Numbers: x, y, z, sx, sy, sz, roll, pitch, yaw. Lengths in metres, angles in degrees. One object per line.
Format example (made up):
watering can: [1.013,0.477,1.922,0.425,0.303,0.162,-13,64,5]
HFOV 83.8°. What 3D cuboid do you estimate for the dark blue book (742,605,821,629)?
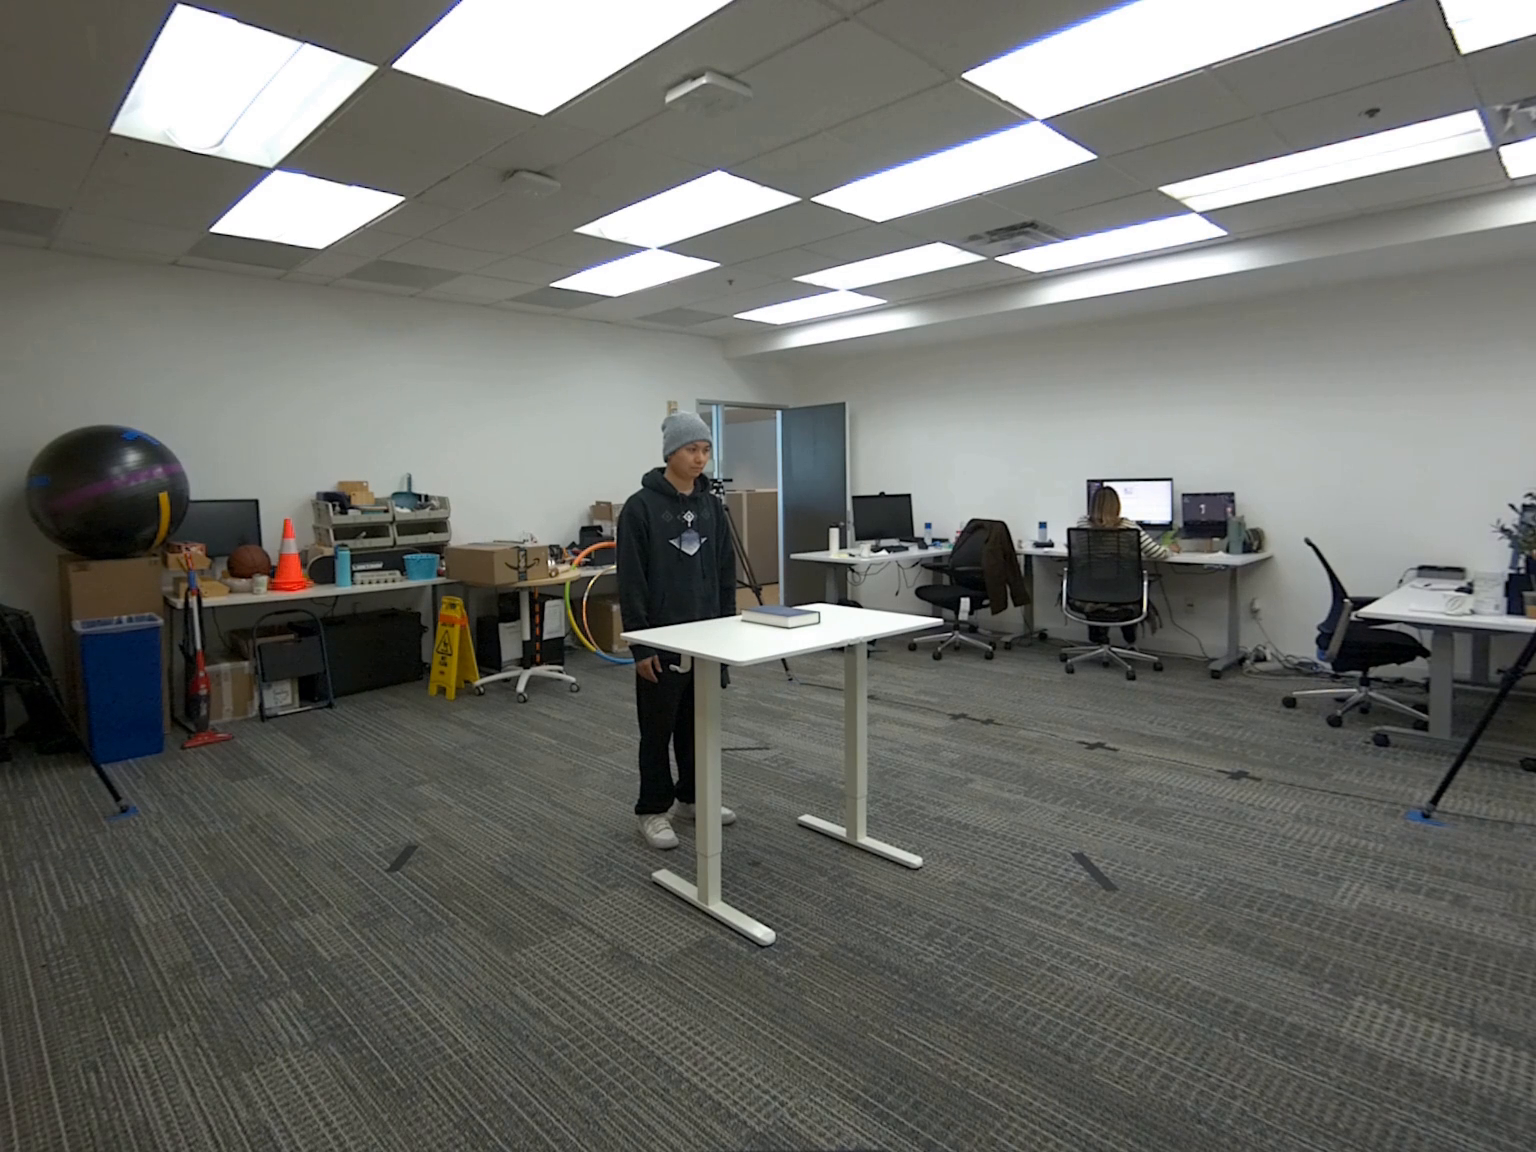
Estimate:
dark blue book: [0.049,0.149,3.054,0.159,0.045,0.253,-6,8,-42]
